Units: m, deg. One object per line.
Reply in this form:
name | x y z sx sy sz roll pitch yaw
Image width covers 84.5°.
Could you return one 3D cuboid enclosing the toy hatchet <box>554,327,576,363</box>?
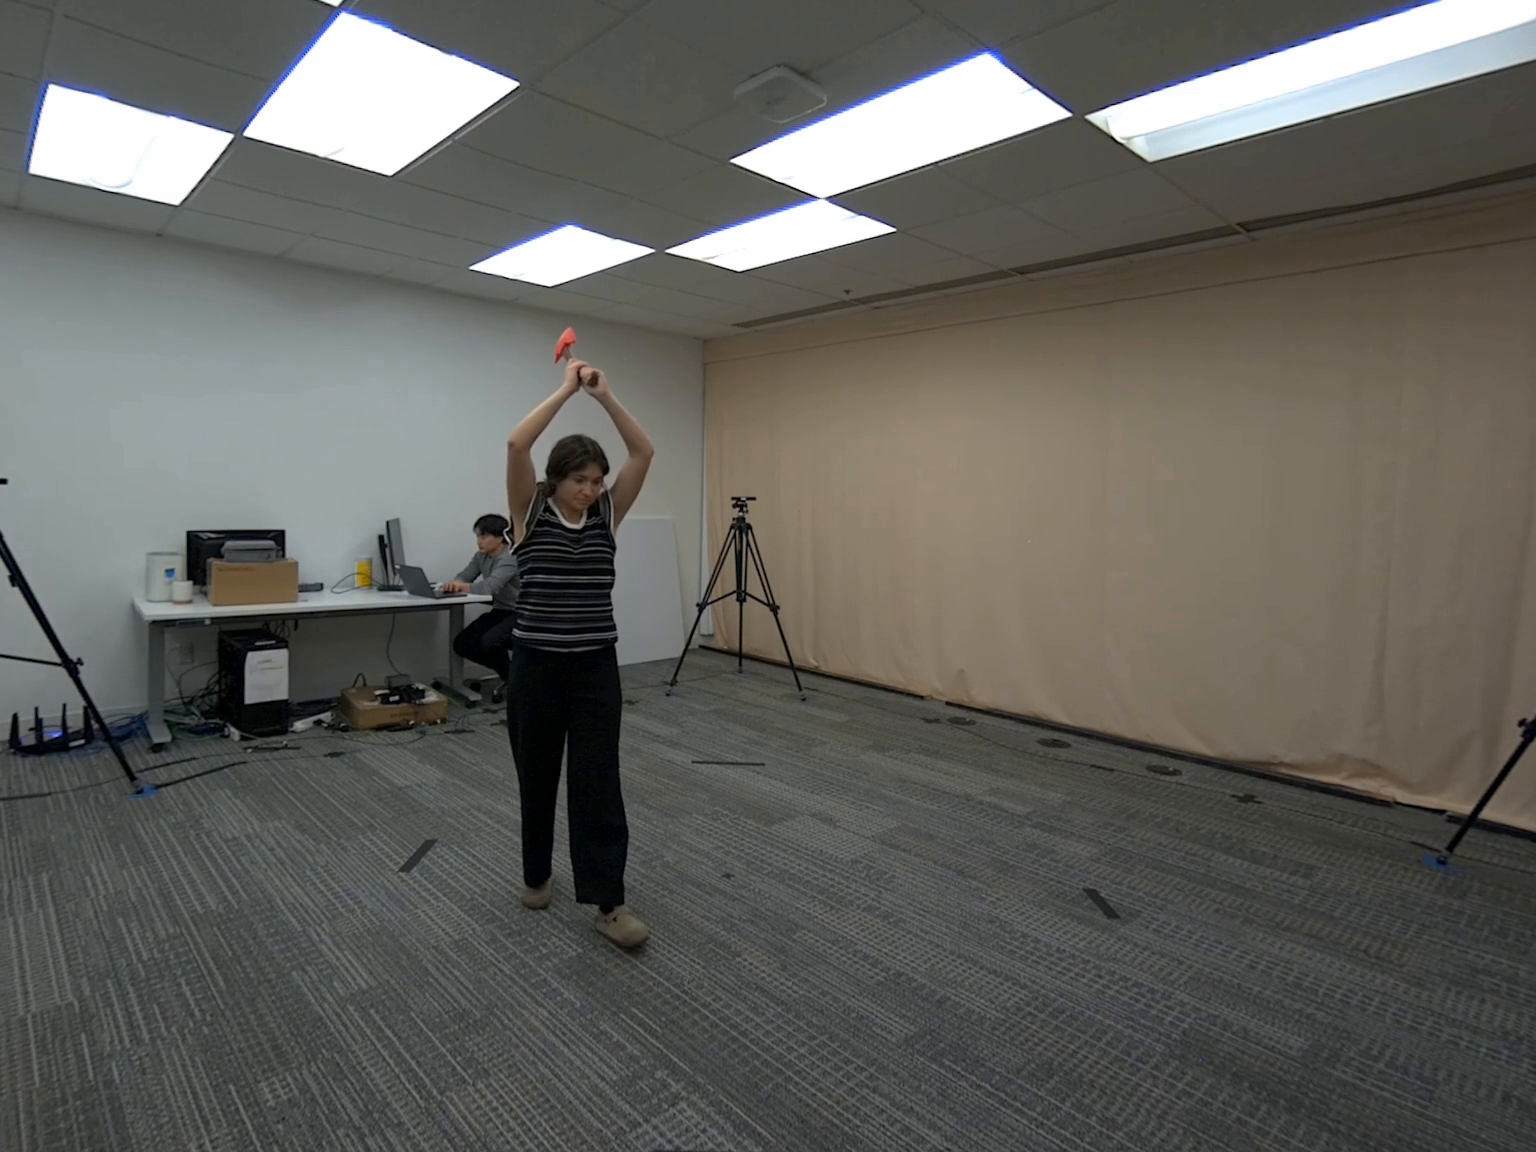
toy hatchet | -0.608 -0.703 2.661 0.029 0.130 0.279 6 22 -43
